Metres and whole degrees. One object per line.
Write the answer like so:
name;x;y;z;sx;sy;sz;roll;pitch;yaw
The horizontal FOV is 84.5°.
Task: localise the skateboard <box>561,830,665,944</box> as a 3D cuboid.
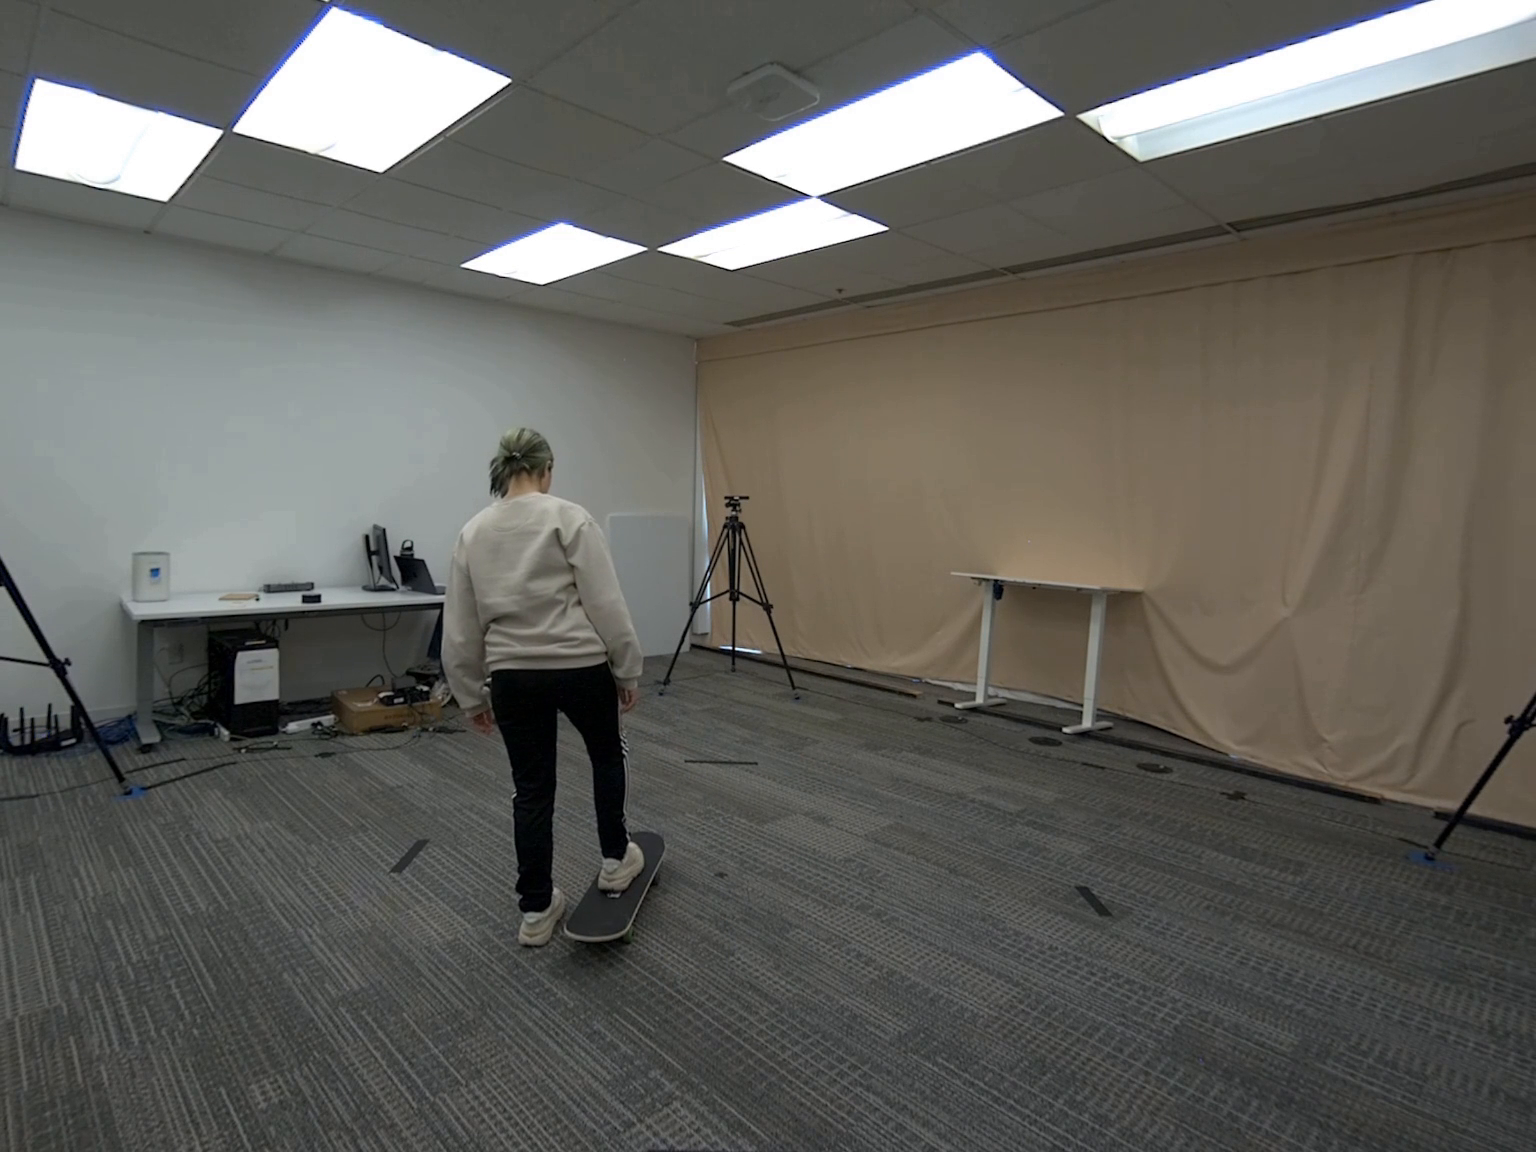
skateboard;-0.503;1.066;2.830;0.194;0.110;0.785;2;5;3
